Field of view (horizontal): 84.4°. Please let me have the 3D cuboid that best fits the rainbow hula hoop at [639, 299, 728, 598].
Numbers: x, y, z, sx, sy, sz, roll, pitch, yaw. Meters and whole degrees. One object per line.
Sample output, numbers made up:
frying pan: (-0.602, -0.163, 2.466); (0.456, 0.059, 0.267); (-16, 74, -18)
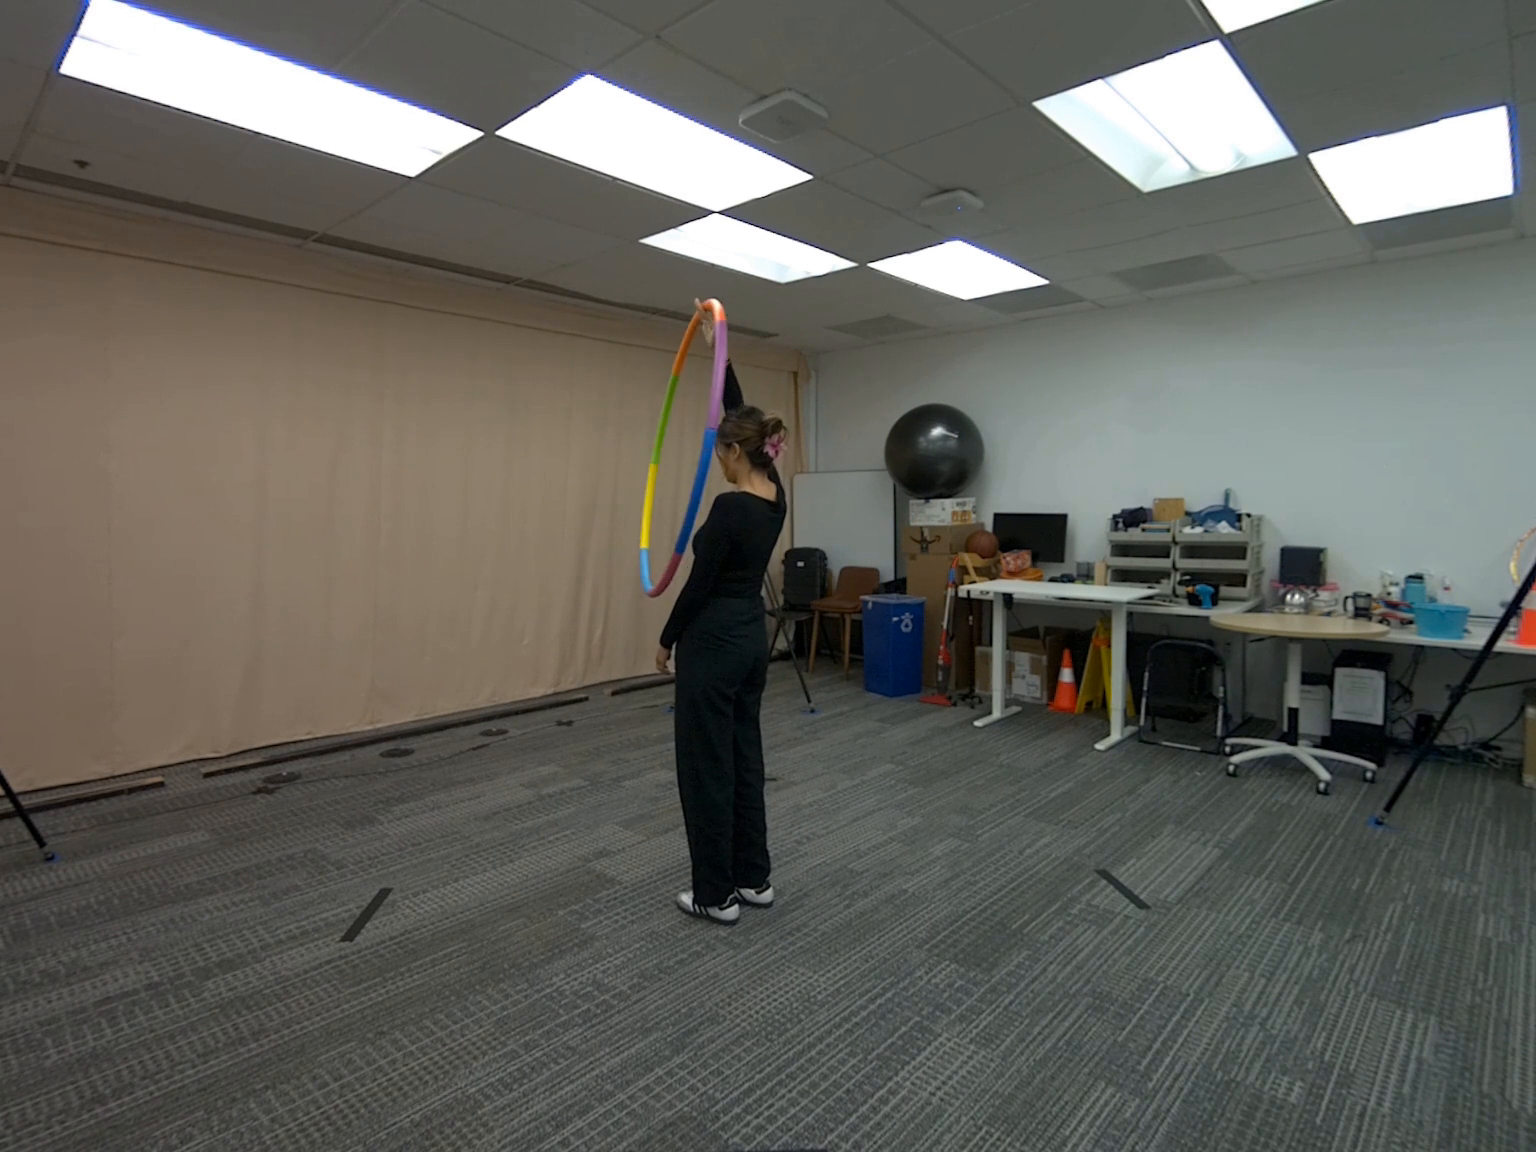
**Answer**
rainbow hula hoop: (-0.291, -0.417, 2.811); (0.050, 0.985, 1.004); (10, 1, -18)
